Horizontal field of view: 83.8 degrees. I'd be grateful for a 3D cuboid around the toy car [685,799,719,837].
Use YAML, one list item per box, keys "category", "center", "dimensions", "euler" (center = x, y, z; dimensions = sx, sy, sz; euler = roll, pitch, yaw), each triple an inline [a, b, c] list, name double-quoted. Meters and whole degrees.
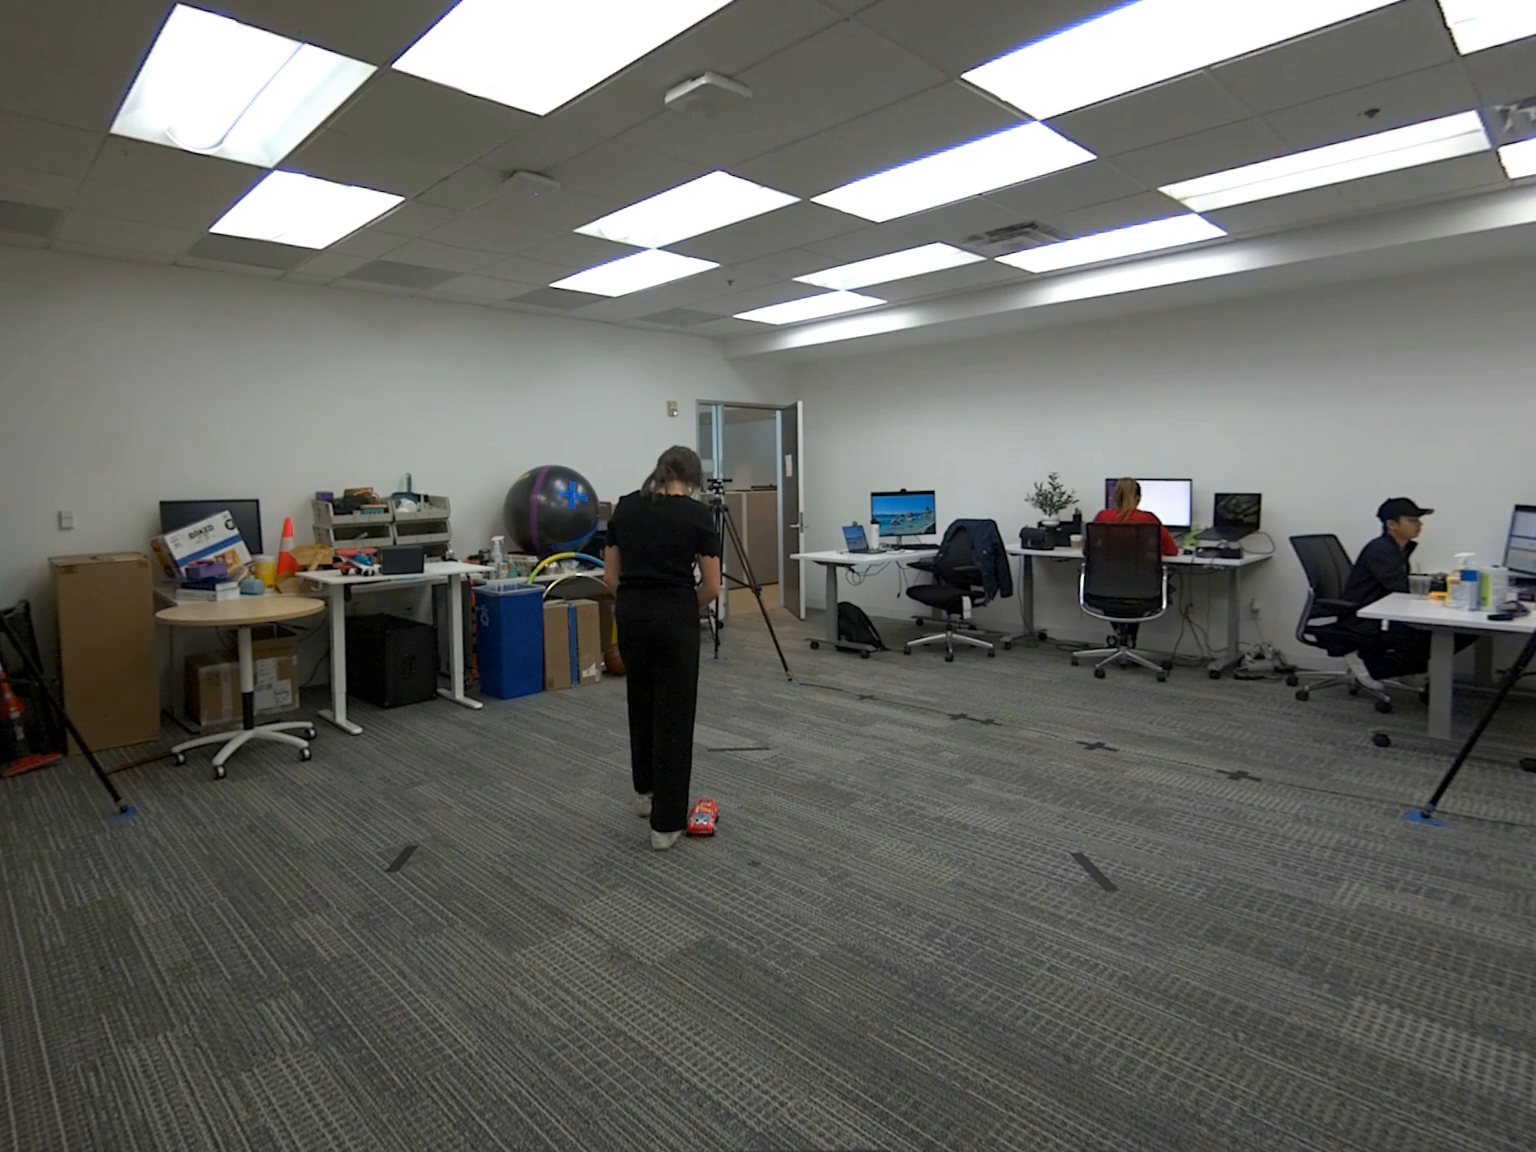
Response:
- category: "toy car"
  center: [-0.263, 0.975, 3.450]
  dimensions: [0.131, 0.082, 0.256]
  euler: [-1, 16, 5]
